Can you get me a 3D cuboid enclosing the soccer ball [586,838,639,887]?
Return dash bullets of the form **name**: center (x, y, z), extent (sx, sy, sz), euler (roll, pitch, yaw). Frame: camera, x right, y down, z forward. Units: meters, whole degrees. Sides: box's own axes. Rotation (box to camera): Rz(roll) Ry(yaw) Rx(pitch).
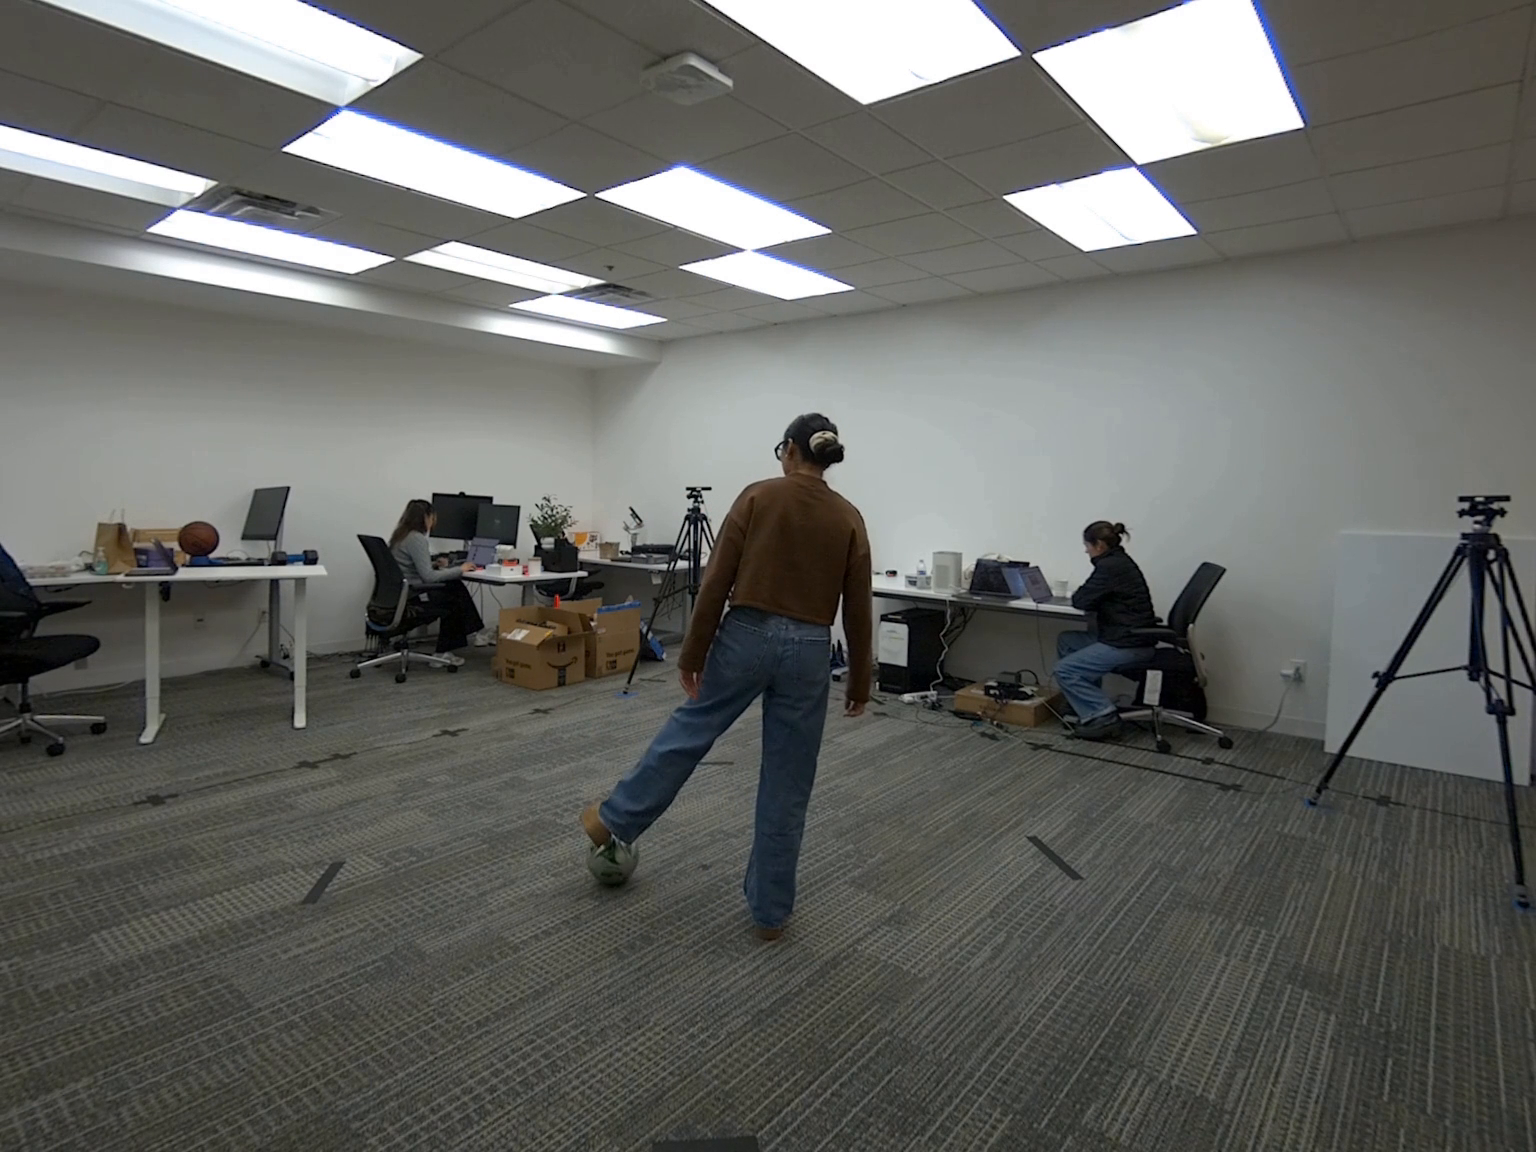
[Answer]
- **soccer ball**: center (-0.544, 0.978, 2.989), extent (0.187, 0.187, 0.188), euler (1, 4, -2)
